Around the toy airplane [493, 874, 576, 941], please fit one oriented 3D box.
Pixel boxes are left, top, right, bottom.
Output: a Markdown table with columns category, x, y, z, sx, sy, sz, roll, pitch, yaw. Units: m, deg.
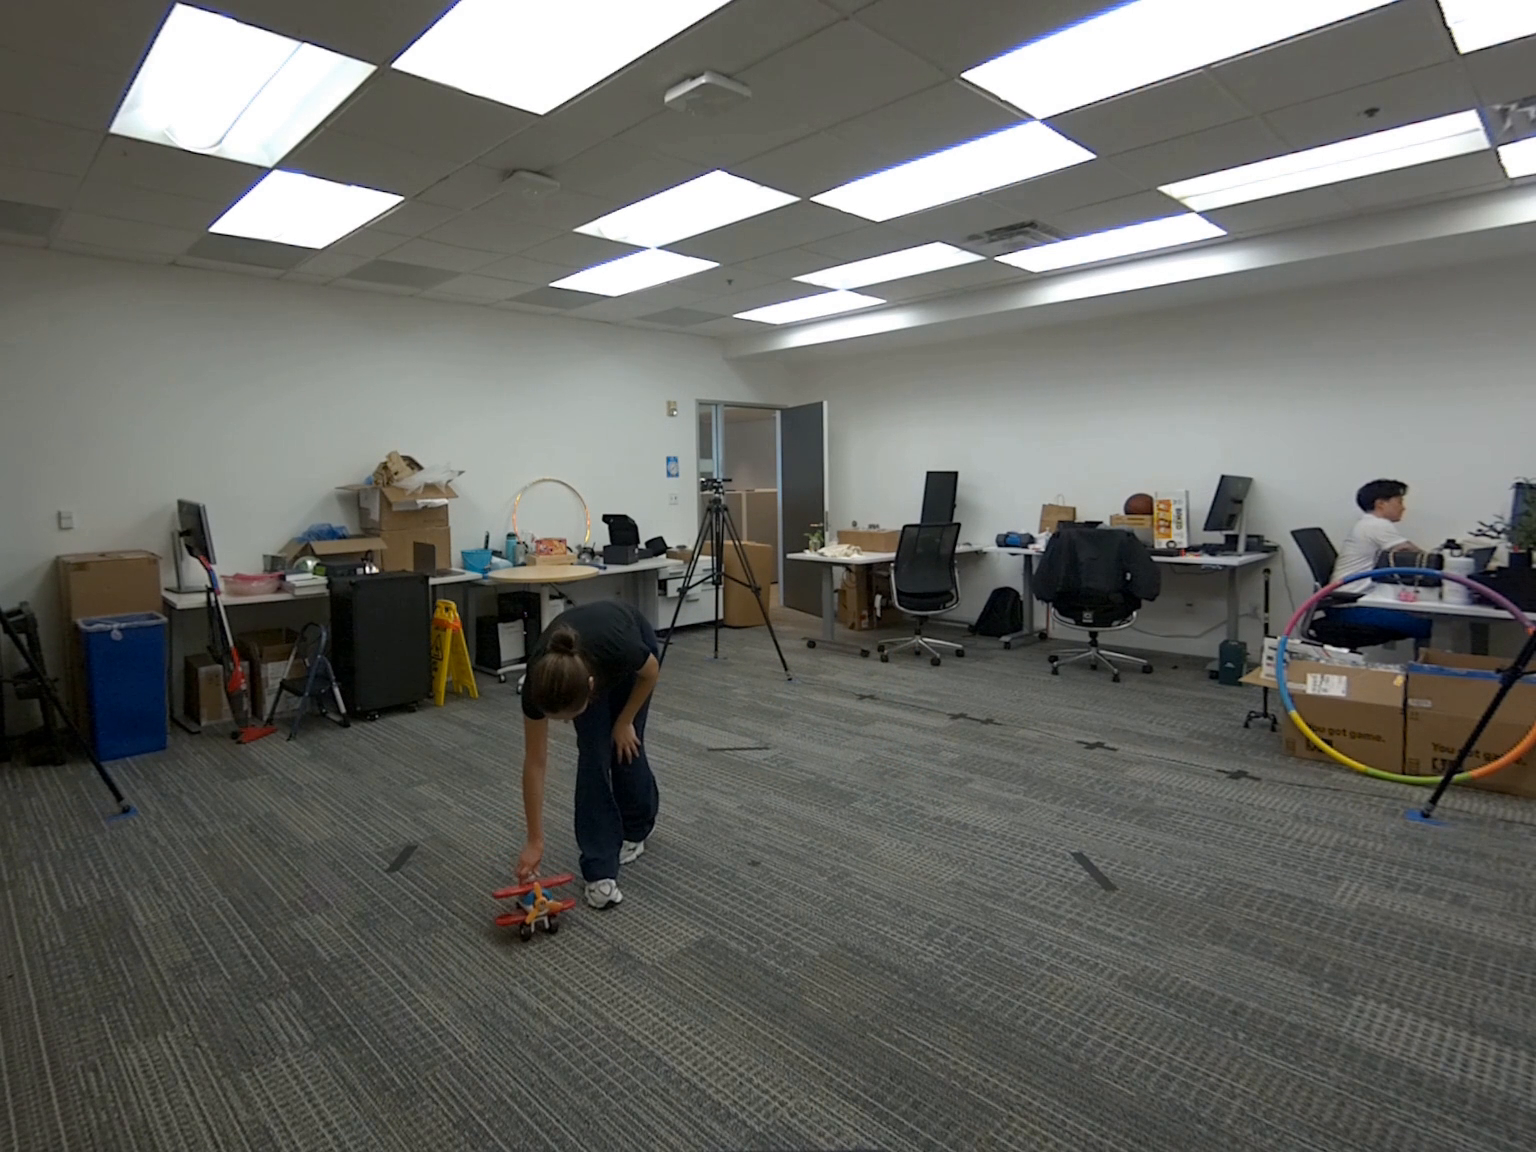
| category | x | y | z | sx | sy | sz | roll | pitch | yaw |
| --- | --- | --- | --- | --- | --- | --- | --- | --- | --- |
| toy airplane | -0.764 | 1.032 | 2.710 | 0.267 | 0.155 | 0.245 | 4 | 8 | 33 |
